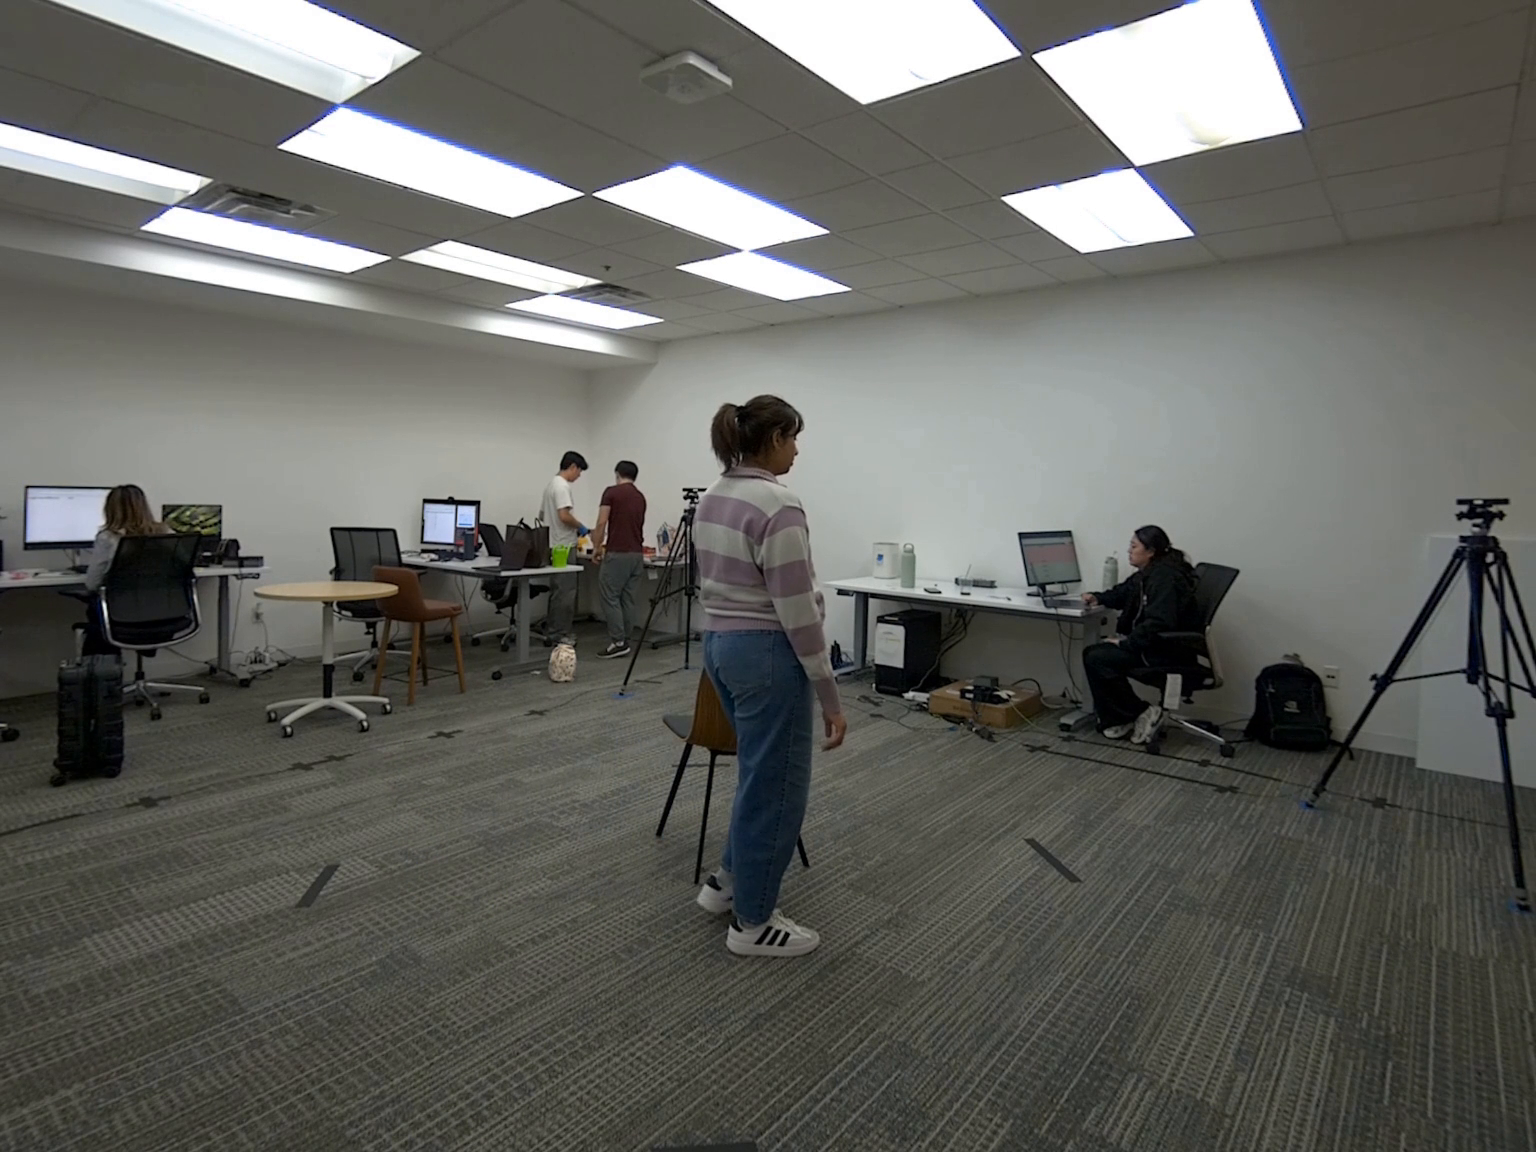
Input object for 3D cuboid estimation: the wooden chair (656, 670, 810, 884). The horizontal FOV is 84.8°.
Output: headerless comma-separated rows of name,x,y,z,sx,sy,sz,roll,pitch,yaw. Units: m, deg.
wooden chair,-0.153,0.626,3.255,0.467,0.872,0.538,0,8,-24
